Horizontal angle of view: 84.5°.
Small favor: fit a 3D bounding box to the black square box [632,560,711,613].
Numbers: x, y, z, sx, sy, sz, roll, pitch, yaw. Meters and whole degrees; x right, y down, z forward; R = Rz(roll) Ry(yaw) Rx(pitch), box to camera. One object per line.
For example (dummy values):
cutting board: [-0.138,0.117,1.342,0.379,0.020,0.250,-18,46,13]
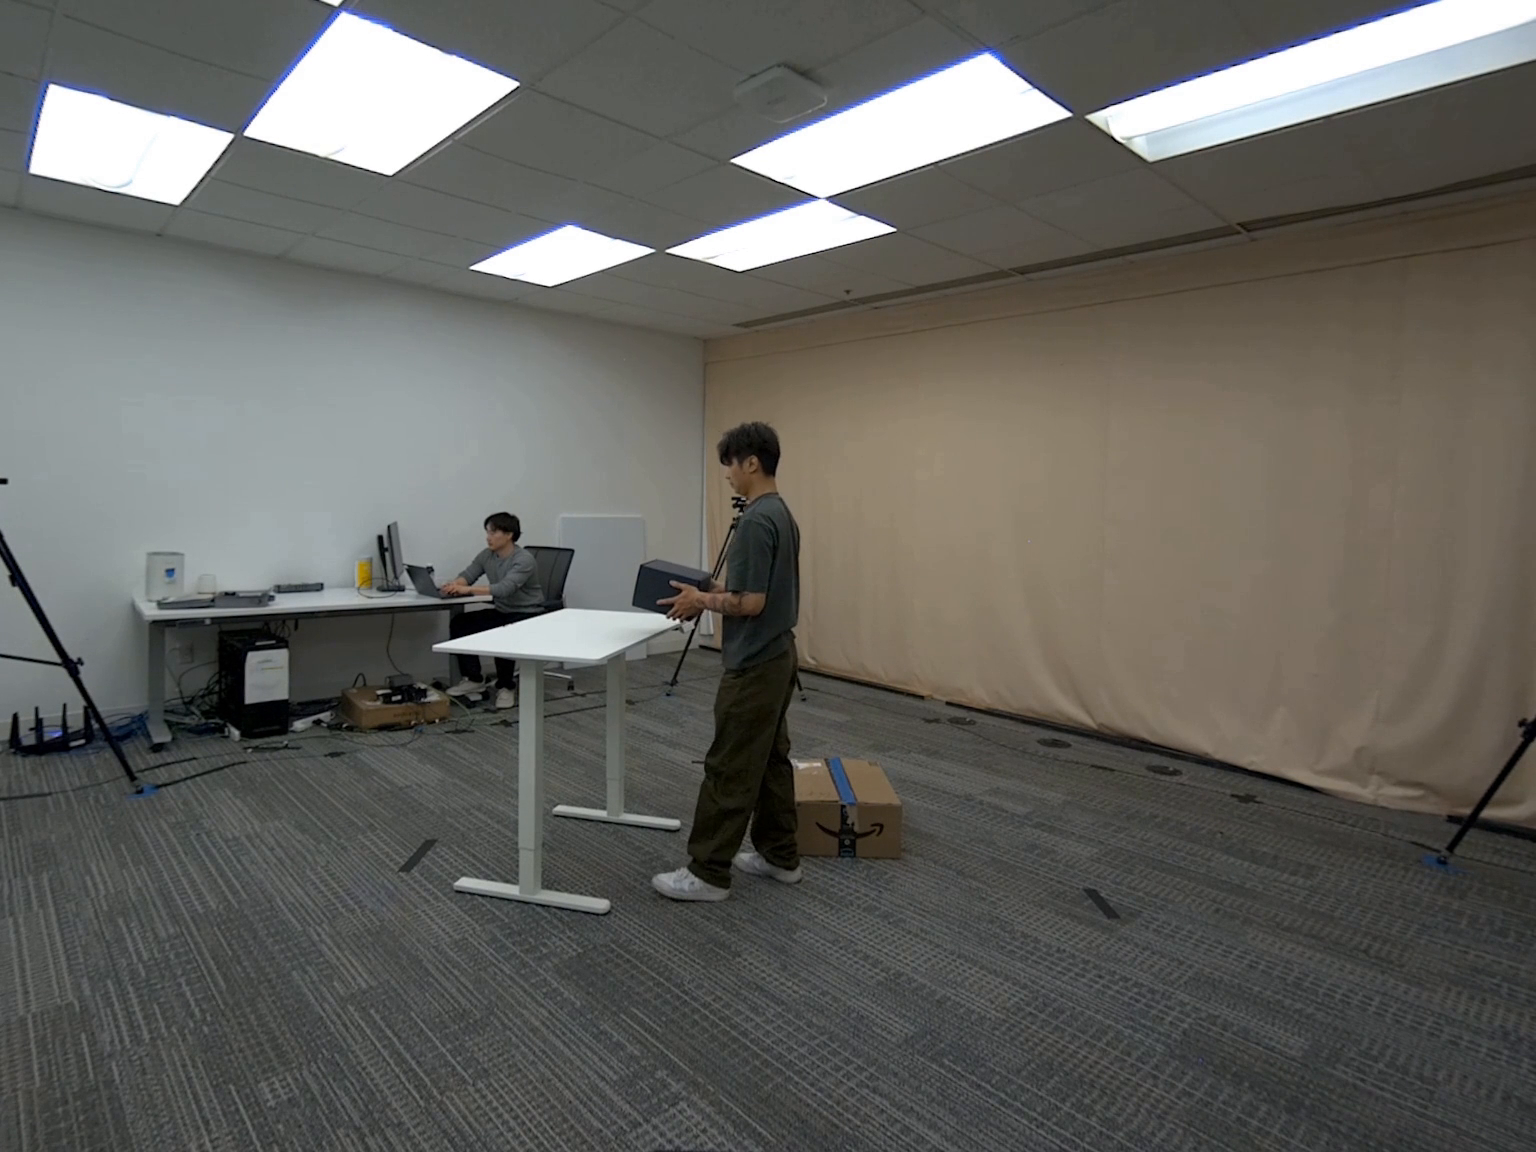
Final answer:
black square box: [-0.355,0.040,3.119,0.229,0.155,0.217,11,7,4]
